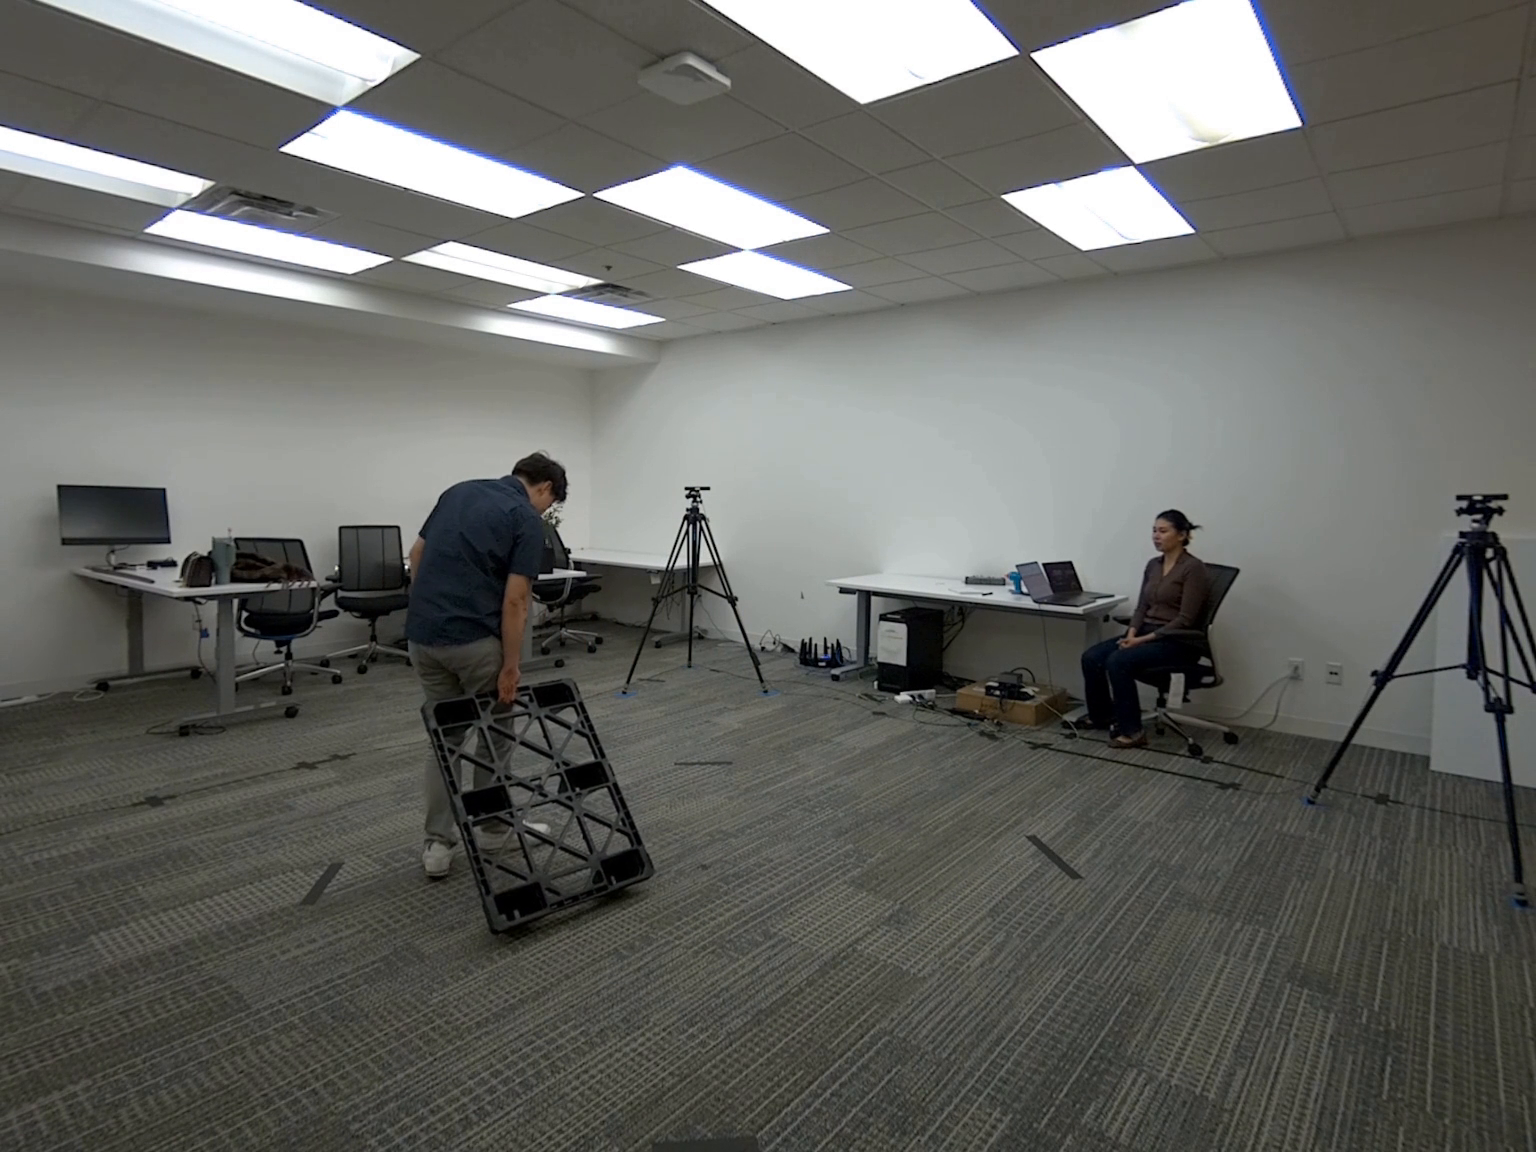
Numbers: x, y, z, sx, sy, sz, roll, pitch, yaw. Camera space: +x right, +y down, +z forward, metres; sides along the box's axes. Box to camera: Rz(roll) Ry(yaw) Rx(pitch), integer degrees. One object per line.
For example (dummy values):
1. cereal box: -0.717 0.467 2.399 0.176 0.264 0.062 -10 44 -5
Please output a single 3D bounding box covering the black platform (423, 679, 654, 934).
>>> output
1. black platform: -0.825 0.761 2.936 0.587 0.833 0.143 -5 -37 -41
